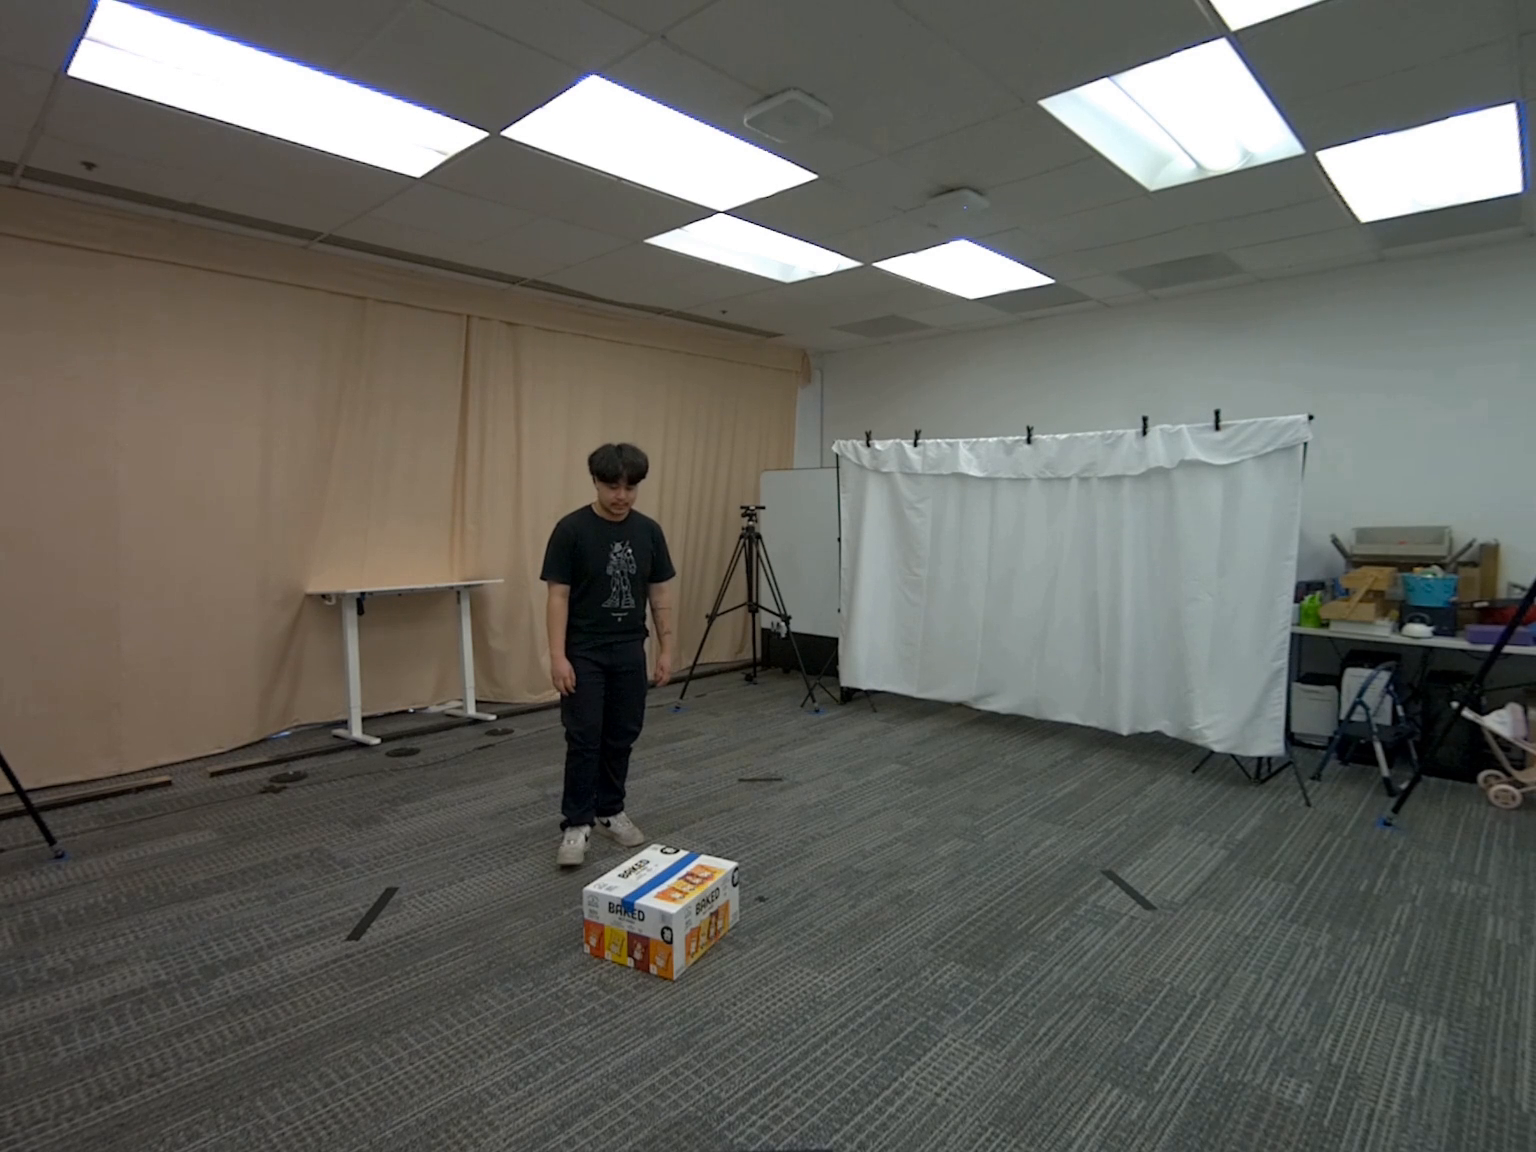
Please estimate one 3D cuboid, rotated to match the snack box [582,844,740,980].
[{"bbox_3d":[-0.335,1.065,2.714,0.350,0.205,0.395,2,5,28],"label":"snack box"}]
